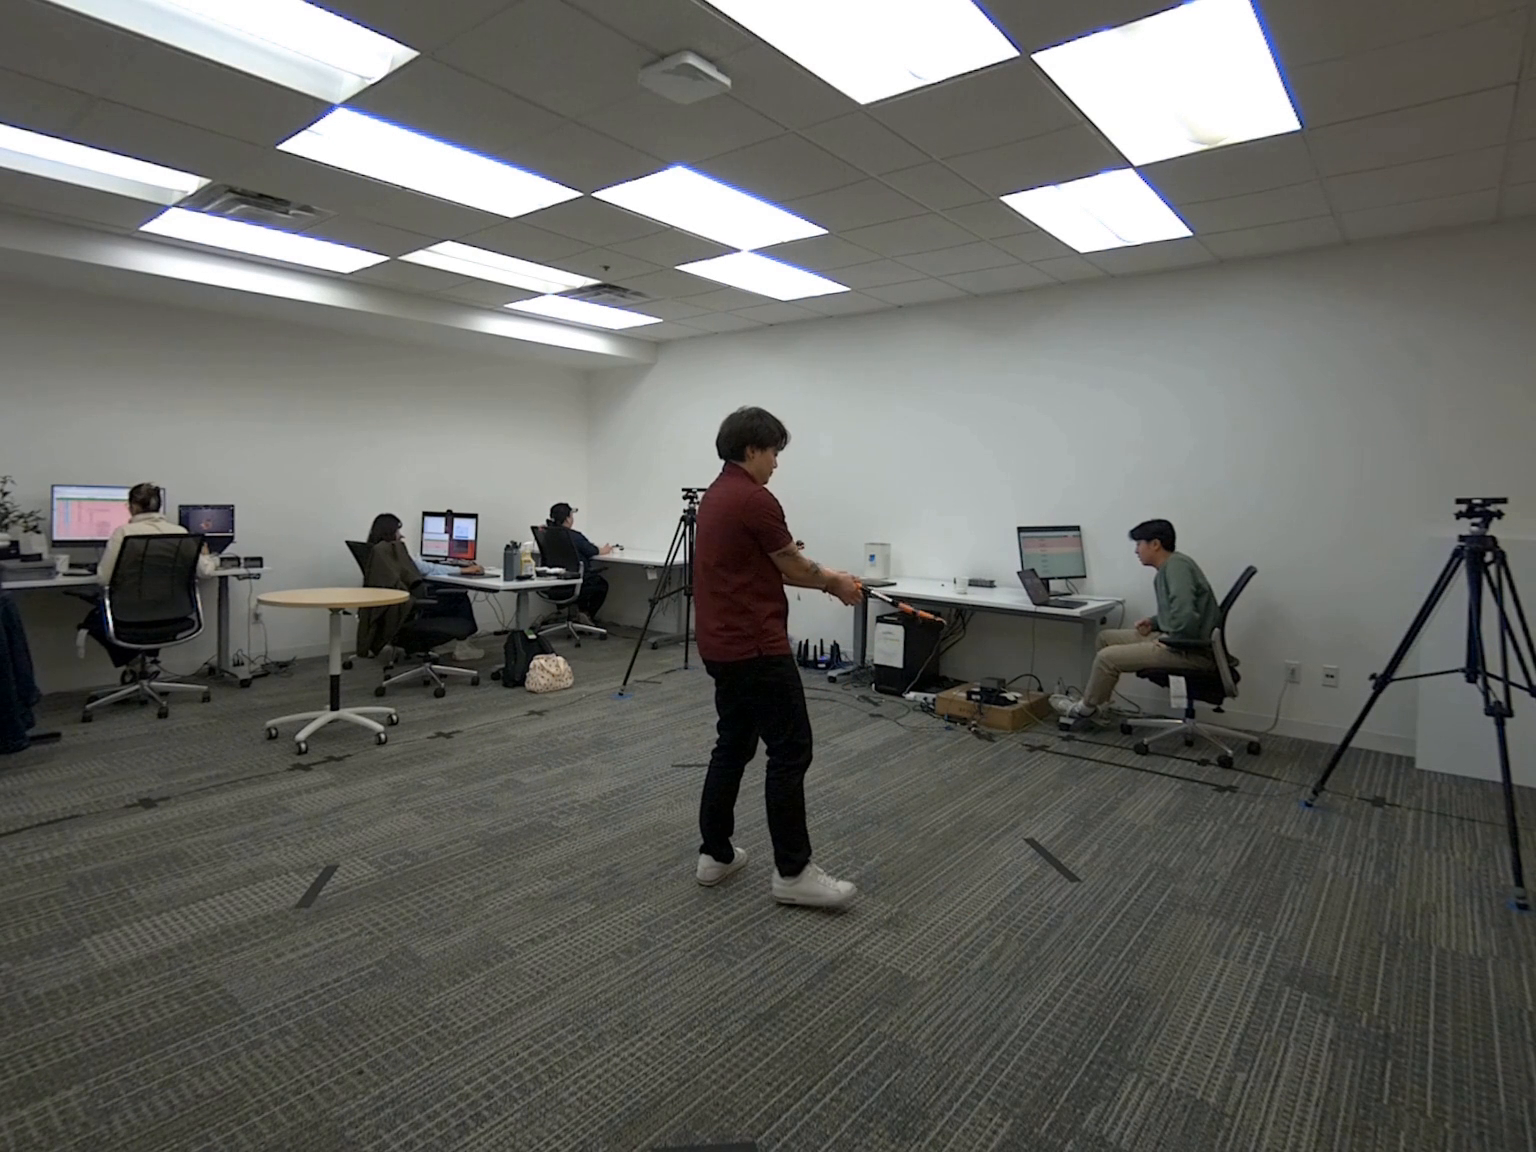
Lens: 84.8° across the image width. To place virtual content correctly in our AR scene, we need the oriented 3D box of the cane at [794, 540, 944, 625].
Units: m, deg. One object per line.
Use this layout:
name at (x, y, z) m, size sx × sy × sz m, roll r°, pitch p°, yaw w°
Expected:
cane at (0.305, 0.042, 3.180) m, size 0.199 × 0.151 × 0.945 m, roll 14°, pitch 9°, yaw -38°
